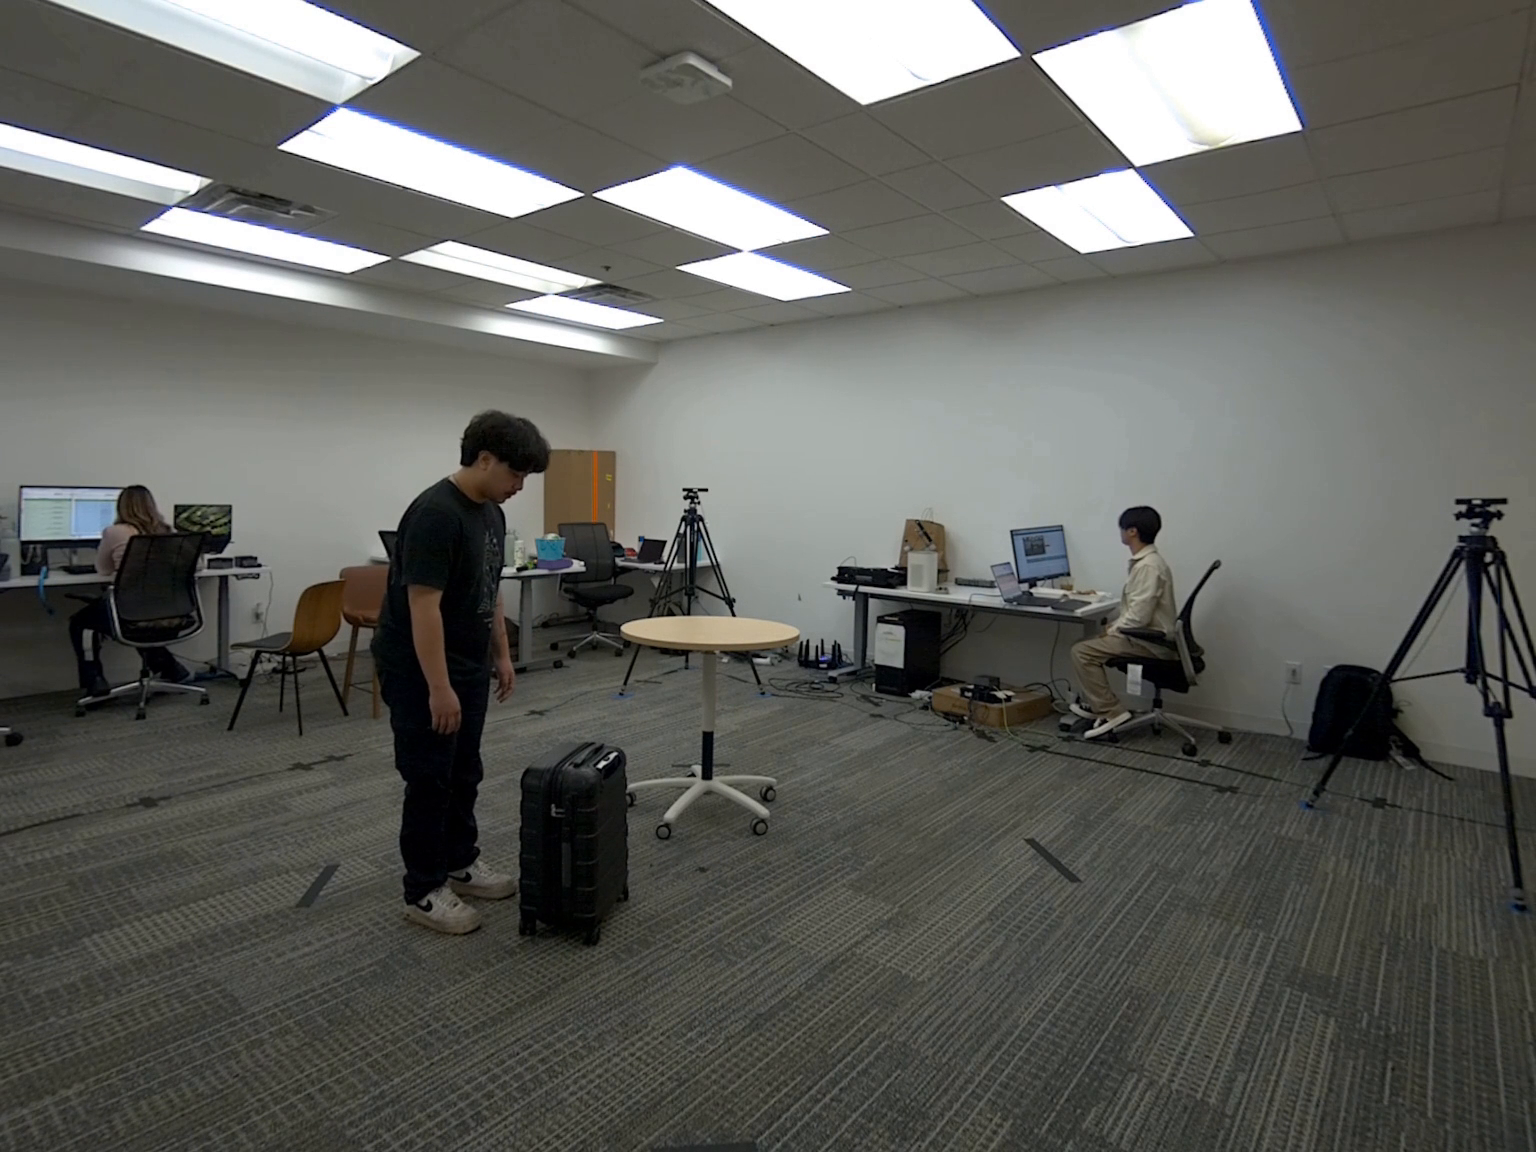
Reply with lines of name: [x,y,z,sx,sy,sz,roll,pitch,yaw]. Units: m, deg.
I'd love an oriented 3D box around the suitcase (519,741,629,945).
suitcase: [-0.628,0.832,2.712,0.252,0.547,0.372,2,5,11]
